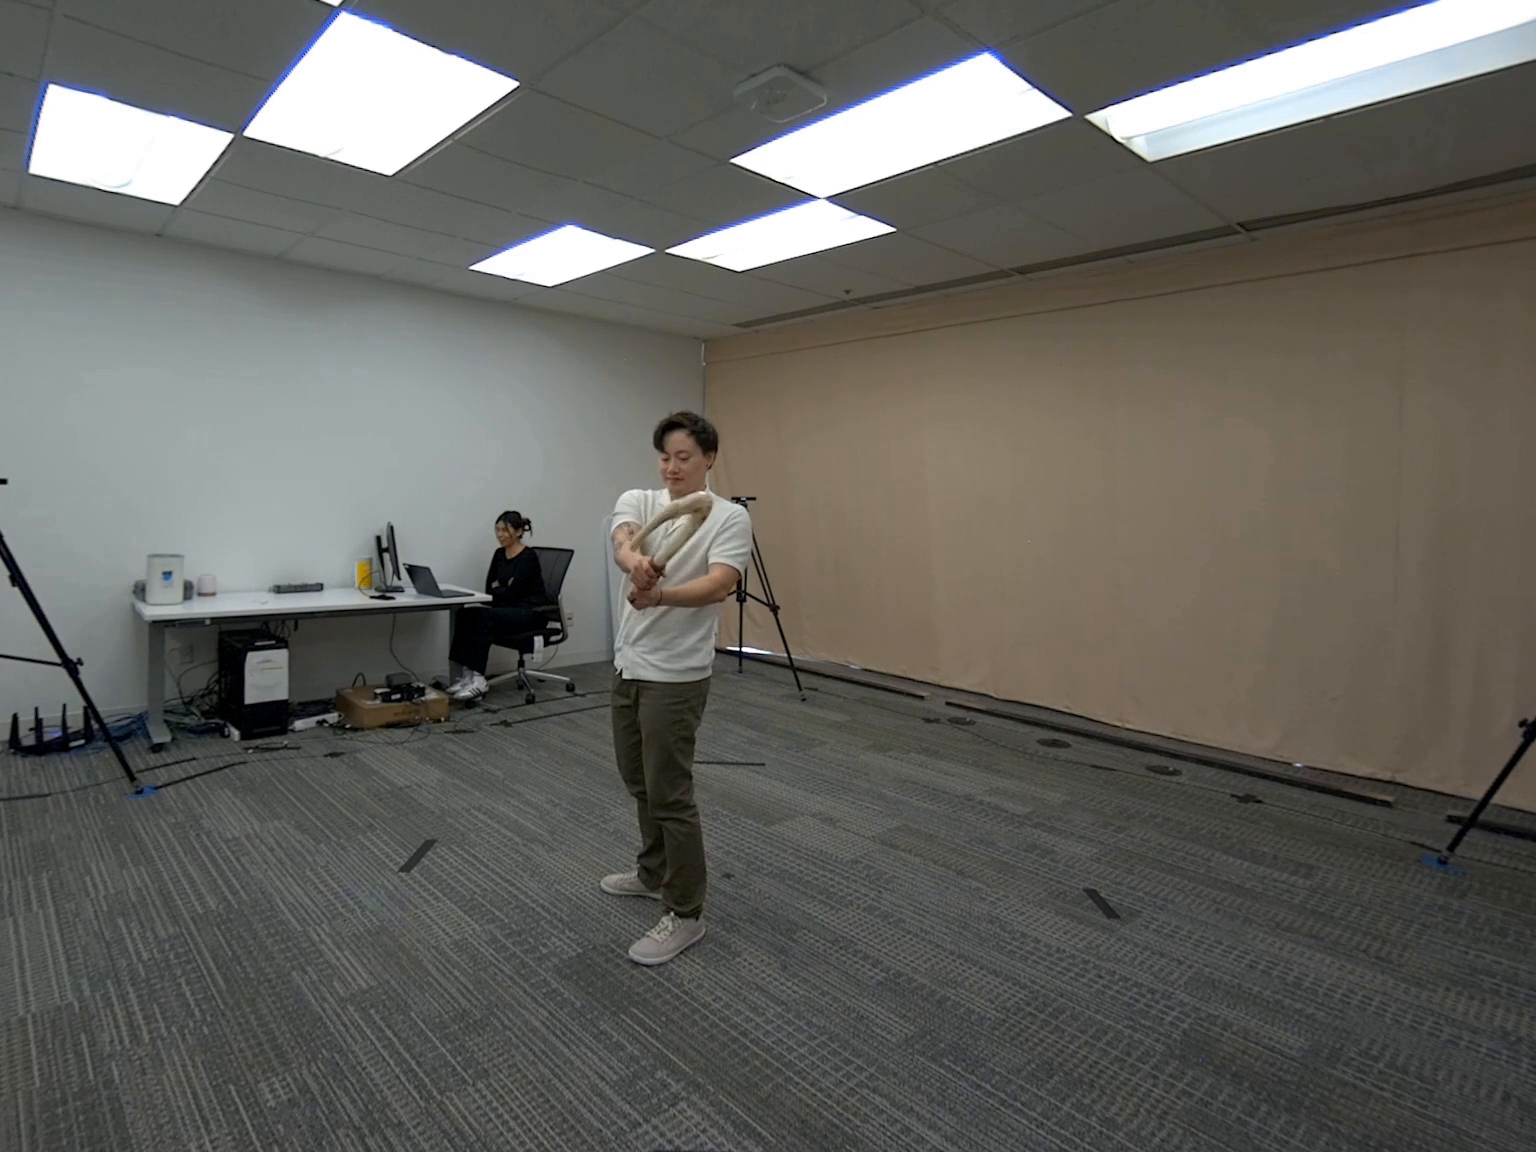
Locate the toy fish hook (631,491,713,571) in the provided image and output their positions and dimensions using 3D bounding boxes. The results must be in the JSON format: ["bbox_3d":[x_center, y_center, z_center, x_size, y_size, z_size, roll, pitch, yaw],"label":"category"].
[{"bbox_3d":[-0.325,-0.044,2.176,0.221,0.049,0.503,-21,-23,-37],"label":"toy fish hook"}]
